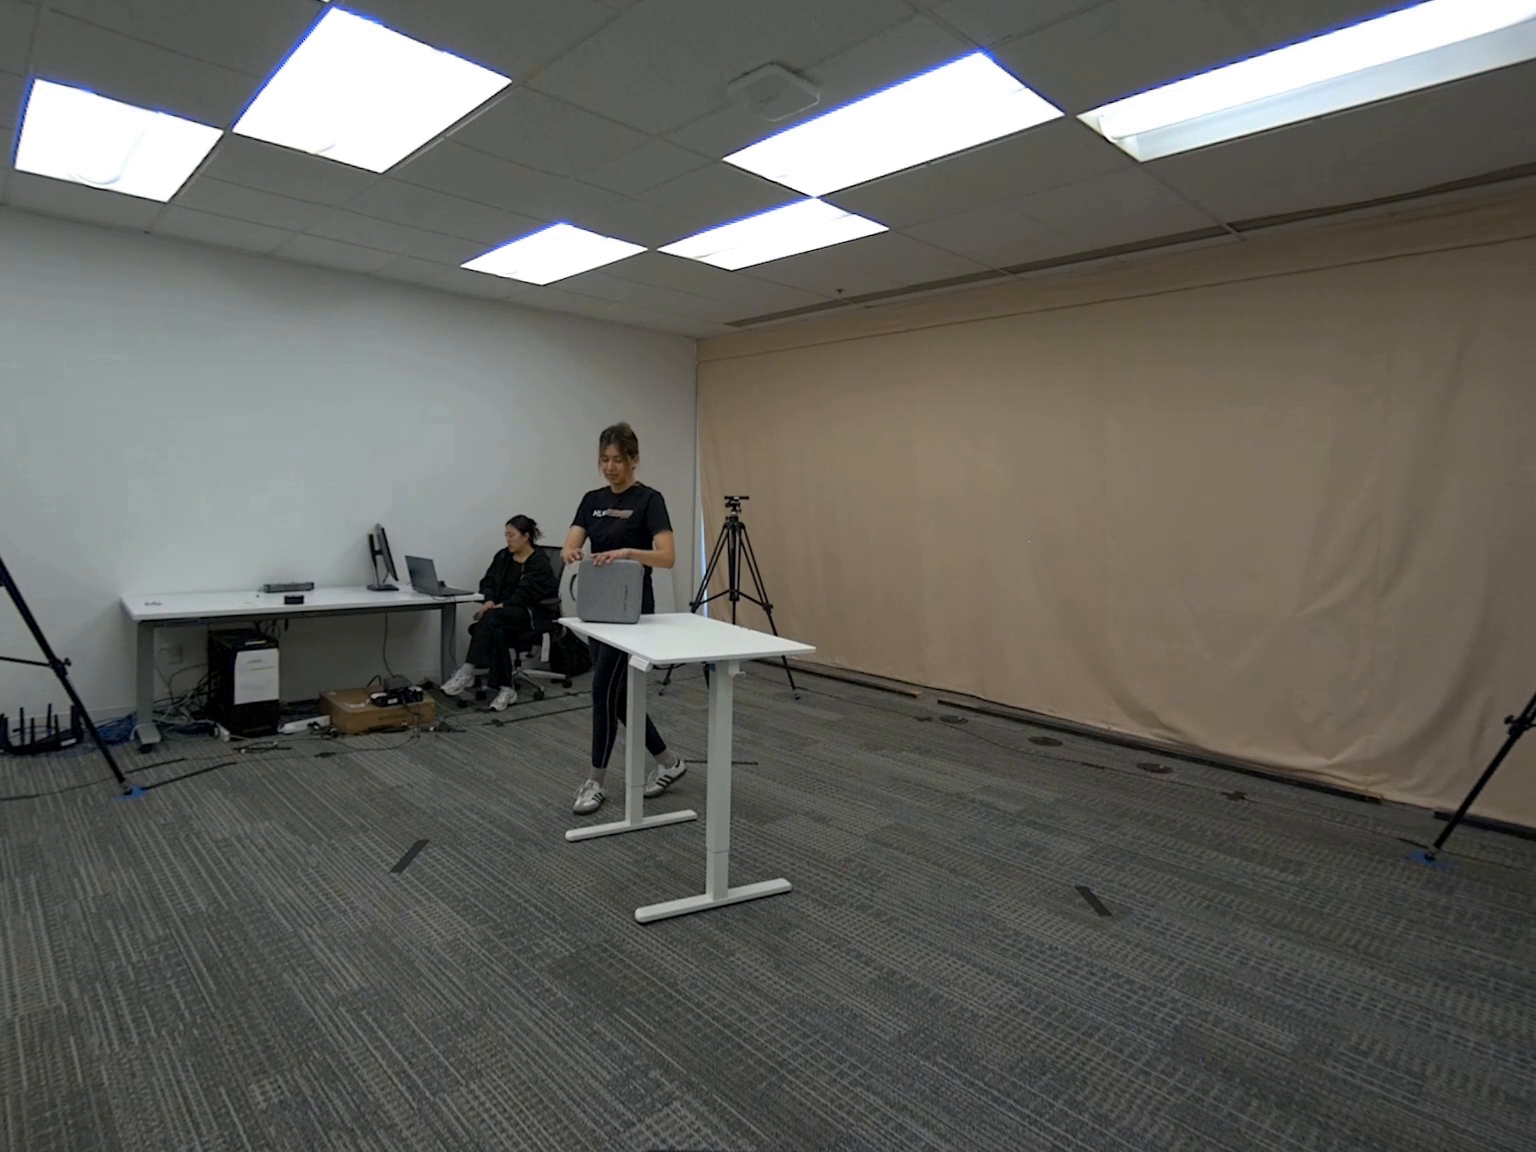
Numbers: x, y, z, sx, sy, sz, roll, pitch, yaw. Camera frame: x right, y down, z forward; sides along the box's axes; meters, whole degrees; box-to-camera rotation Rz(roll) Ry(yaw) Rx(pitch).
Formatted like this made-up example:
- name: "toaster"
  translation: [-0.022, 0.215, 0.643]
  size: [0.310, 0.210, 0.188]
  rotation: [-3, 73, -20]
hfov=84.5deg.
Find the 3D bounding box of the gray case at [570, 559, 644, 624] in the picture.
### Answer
- name: "gray case"
  translation: [-0.651, 0.064, 3.385]
  size: [0.262, 0.257, 0.103]
  rotation: [1, -1, 7]
